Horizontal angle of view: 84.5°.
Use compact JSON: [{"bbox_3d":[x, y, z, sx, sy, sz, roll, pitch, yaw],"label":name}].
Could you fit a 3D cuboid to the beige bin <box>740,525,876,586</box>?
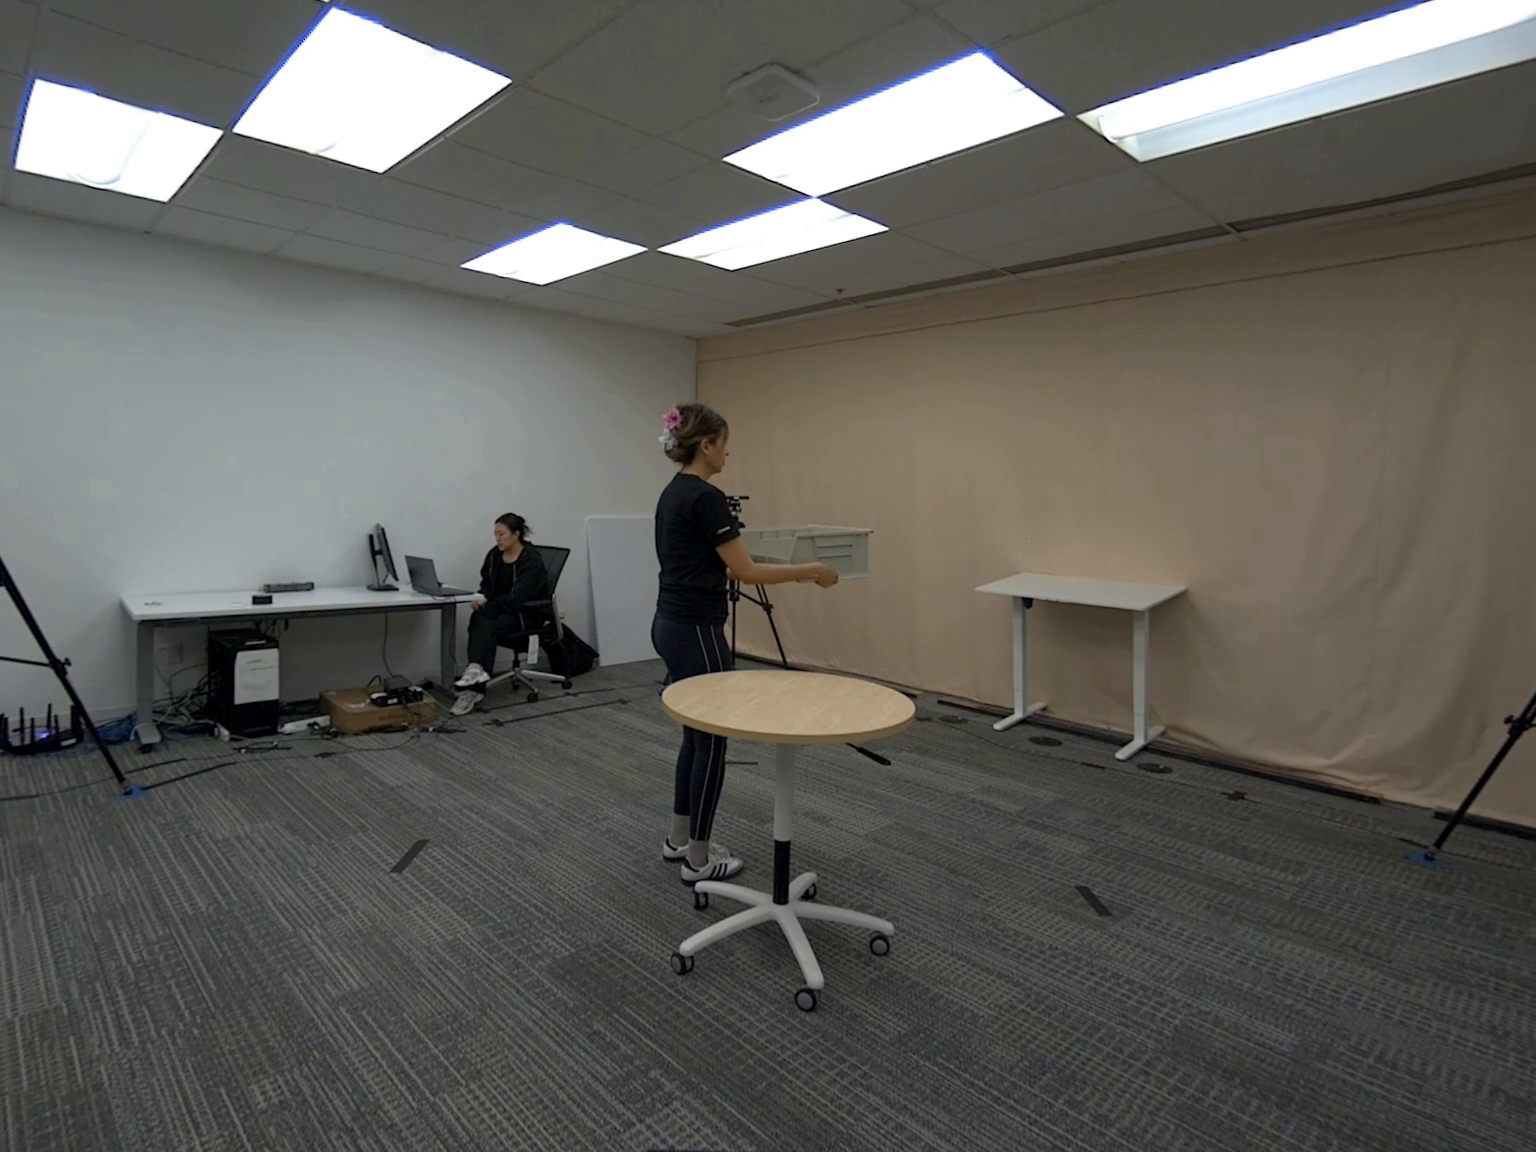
[{"bbox_3d":[0.128,-0.091,3.256,0.370,0.188,0.432,-4,6,-30],"label":"beige bin"}]
